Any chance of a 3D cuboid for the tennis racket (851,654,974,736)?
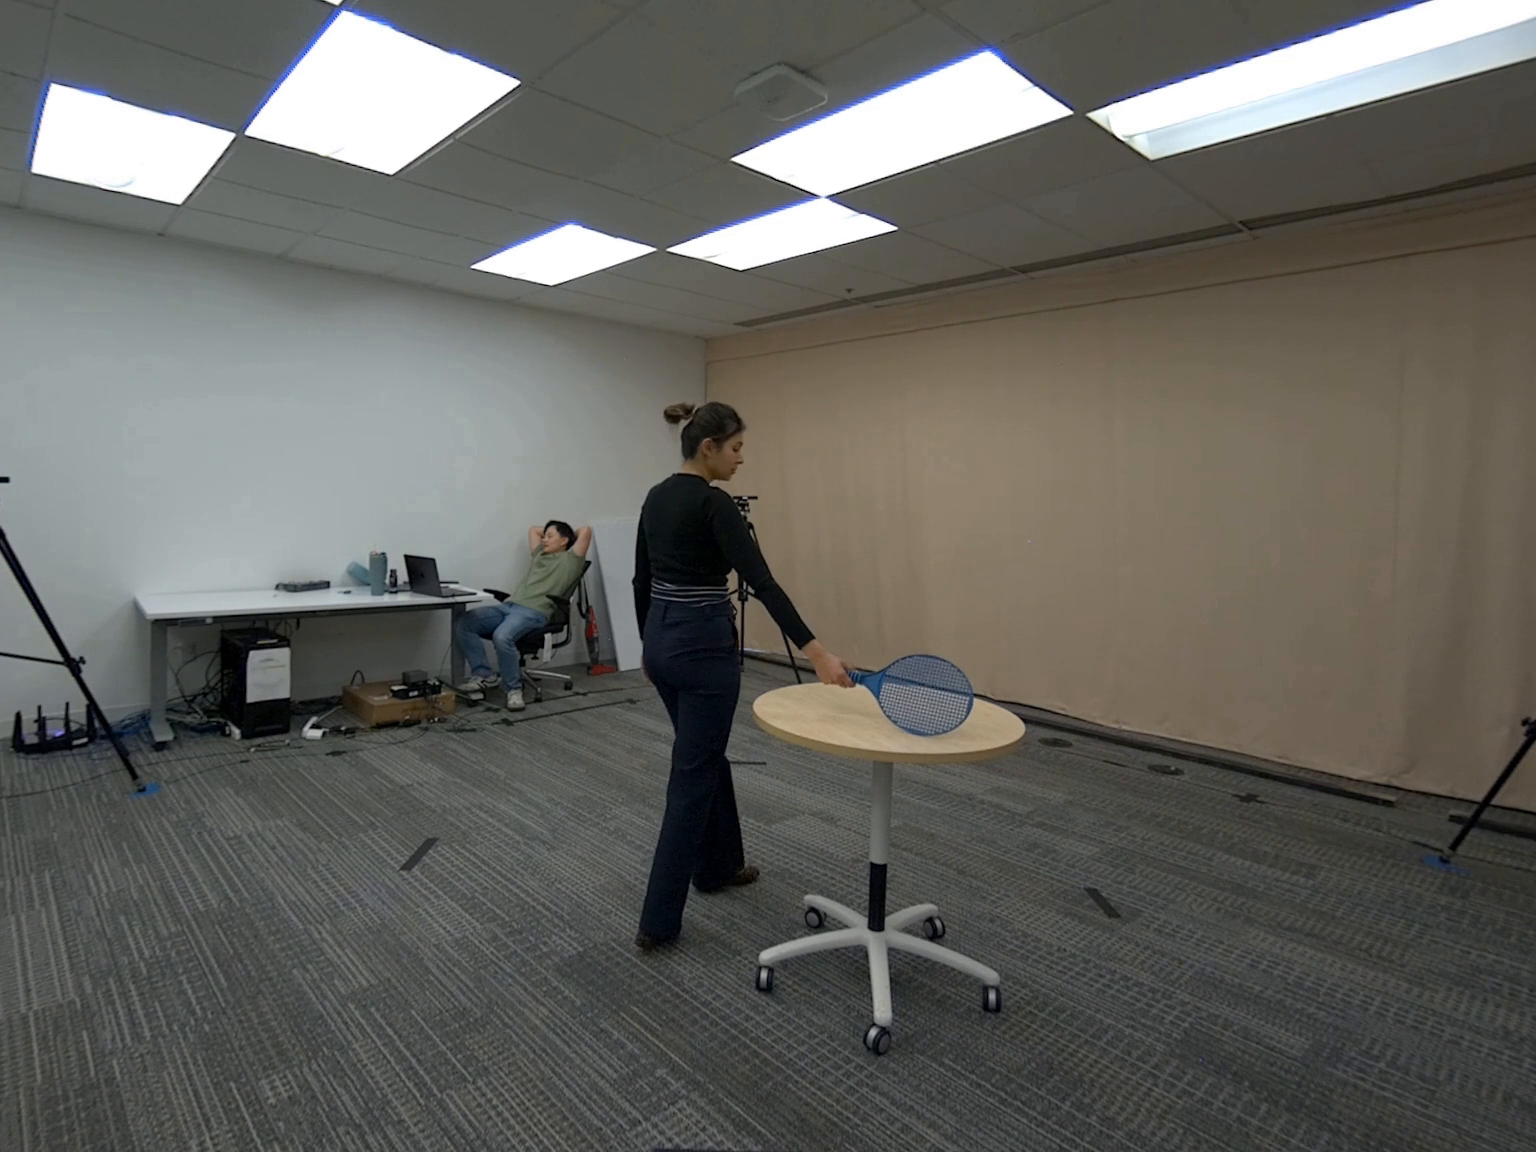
[{"bbox_3d":[0.335,0.311,2.283,0.443,0.215,0.031,4,-16,34],"label":"tennis racket"}]
